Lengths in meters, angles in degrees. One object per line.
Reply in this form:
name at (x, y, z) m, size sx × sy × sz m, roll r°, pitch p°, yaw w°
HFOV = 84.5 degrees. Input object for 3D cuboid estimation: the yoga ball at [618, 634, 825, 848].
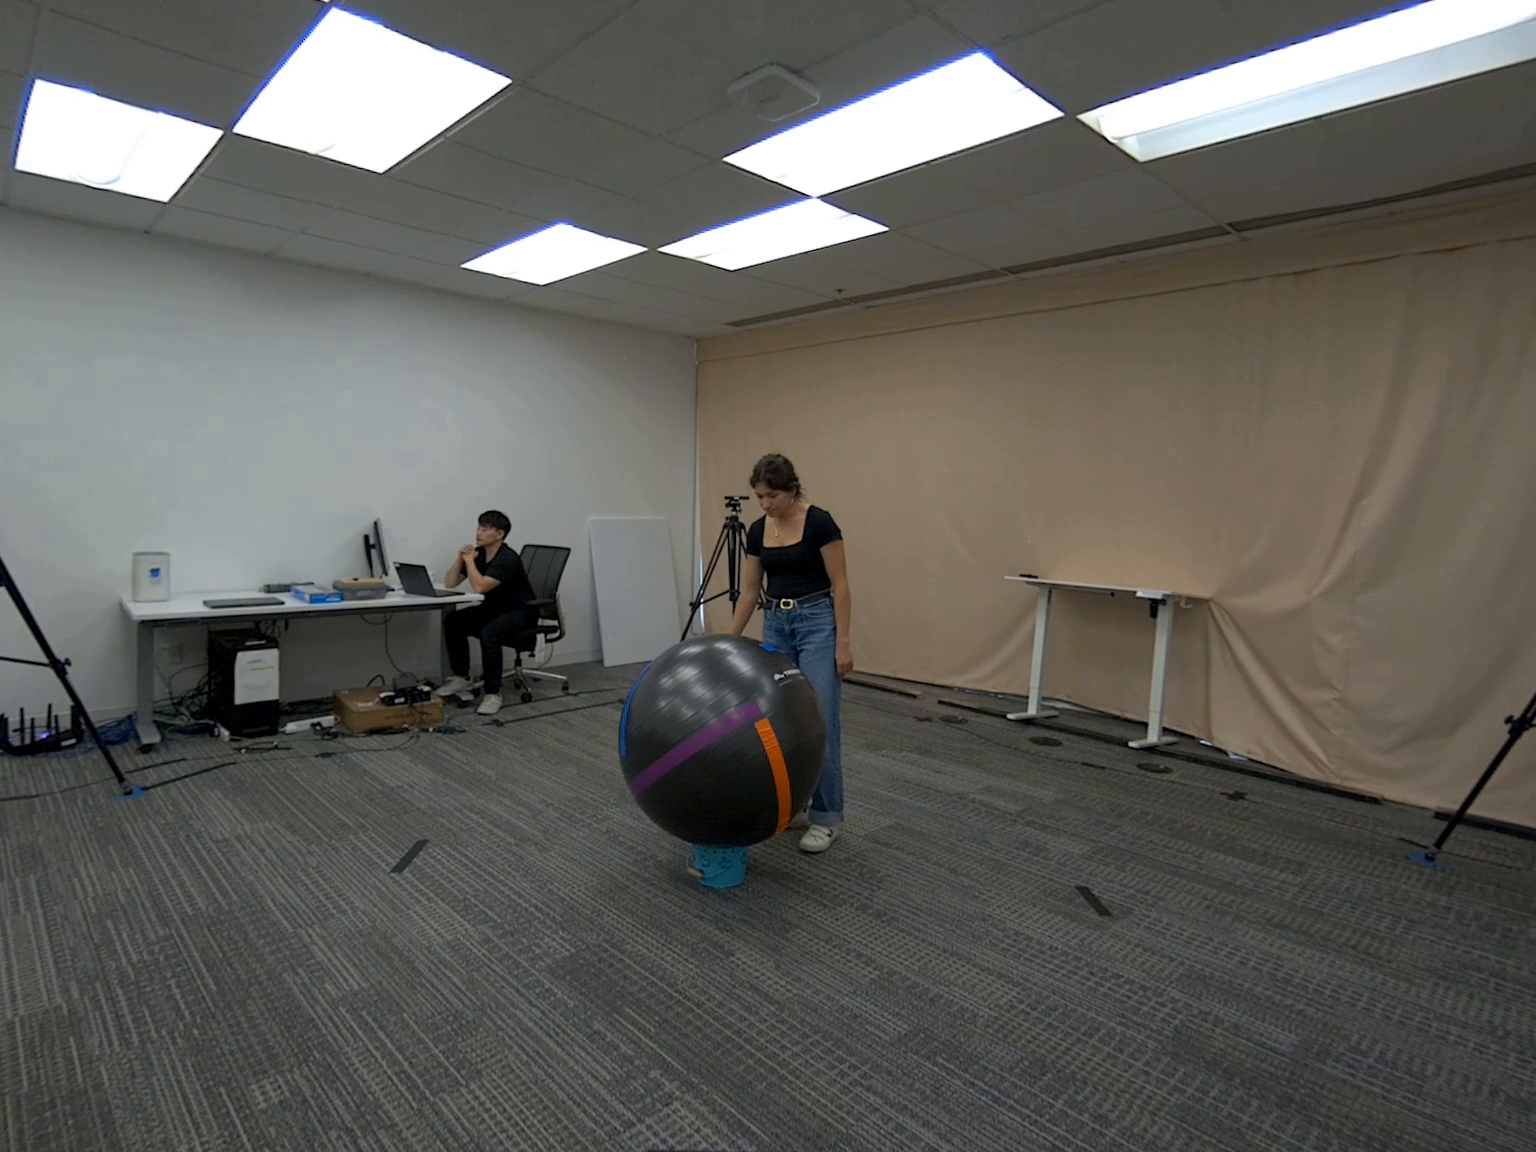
yoga ball at (-0.174, 0.595, 3.062) m, size 0.757 × 0.756 × 0.761 m, roll 1°, pitch 4°, yaw -1°
